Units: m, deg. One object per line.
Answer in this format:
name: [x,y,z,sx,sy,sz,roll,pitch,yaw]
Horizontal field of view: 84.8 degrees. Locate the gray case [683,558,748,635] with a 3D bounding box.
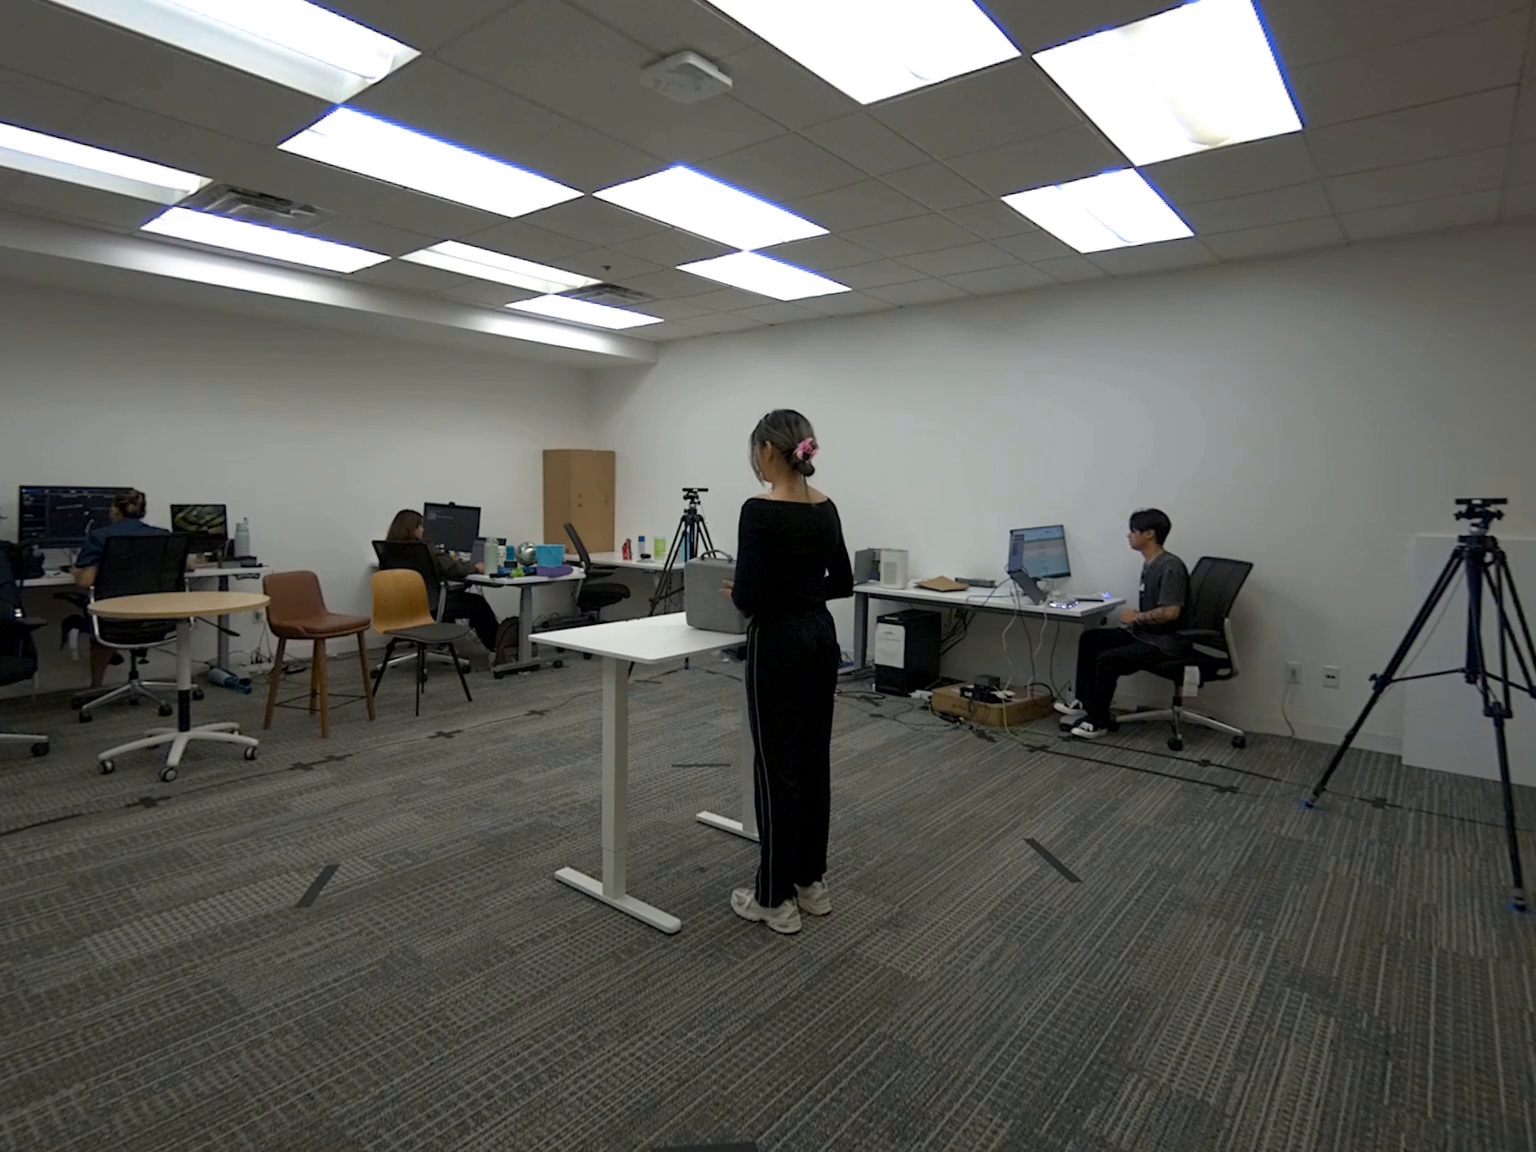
gray case: [-0.182,0.064,3.031,0.265,0.258,0.102,5,12,32]
